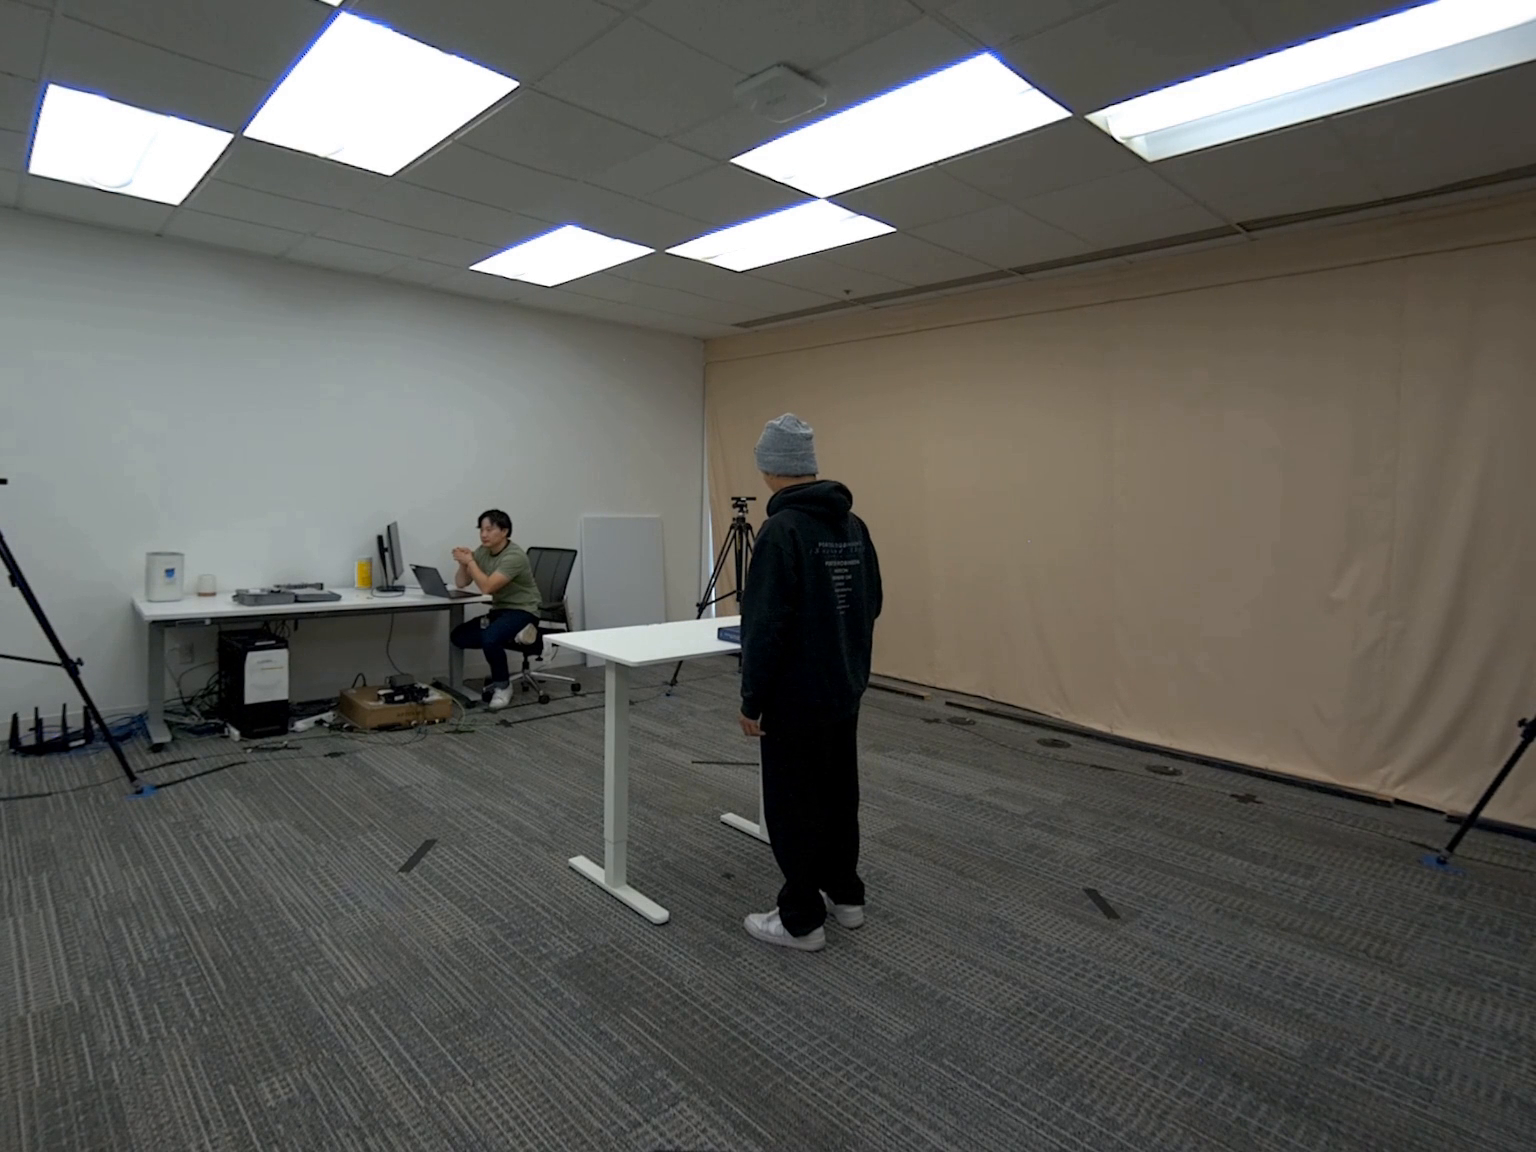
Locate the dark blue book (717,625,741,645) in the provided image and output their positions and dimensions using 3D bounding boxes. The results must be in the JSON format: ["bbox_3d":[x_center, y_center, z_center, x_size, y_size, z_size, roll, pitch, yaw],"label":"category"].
[{"bbox_3d":[-0.045,0.219,2.997,0.160,0.045,0.251,-3,7,-42],"label":"dark blue book"}]
